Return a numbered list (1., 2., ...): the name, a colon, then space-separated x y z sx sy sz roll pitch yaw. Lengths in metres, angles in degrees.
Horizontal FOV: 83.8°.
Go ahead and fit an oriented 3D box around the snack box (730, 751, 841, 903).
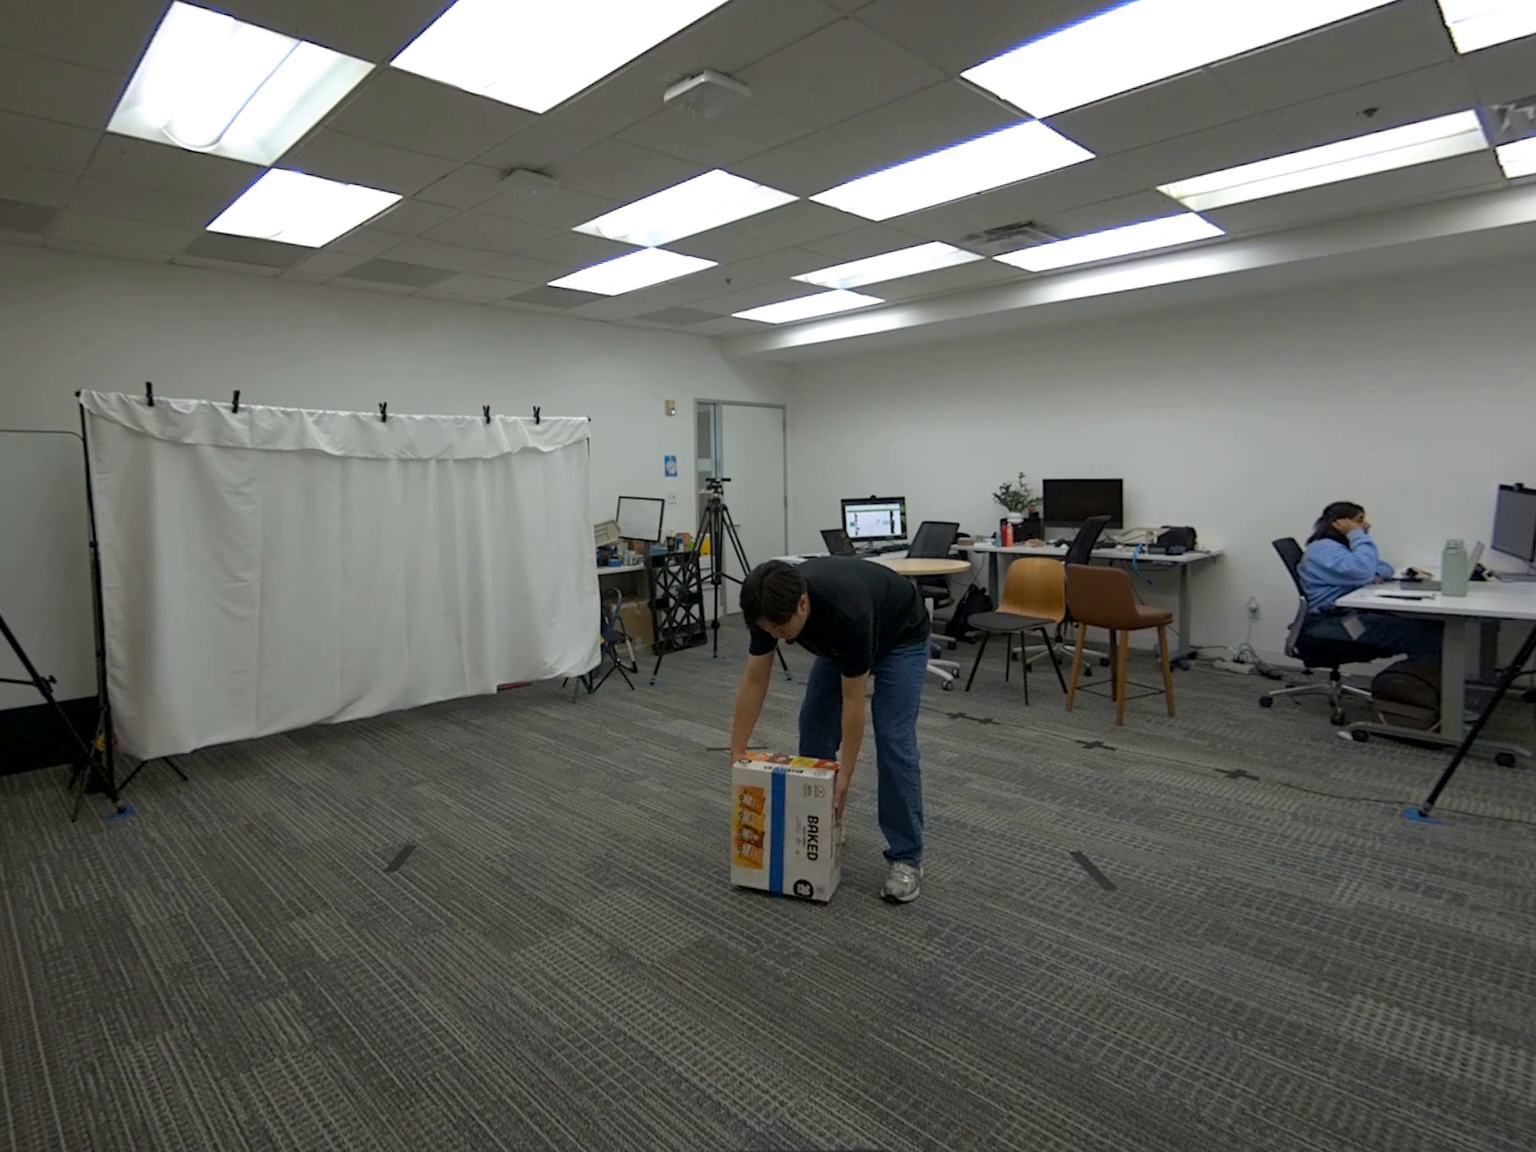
1. snack box: 0.072 0.838 2.920 0.347 0.404 0.202 1 3 19
